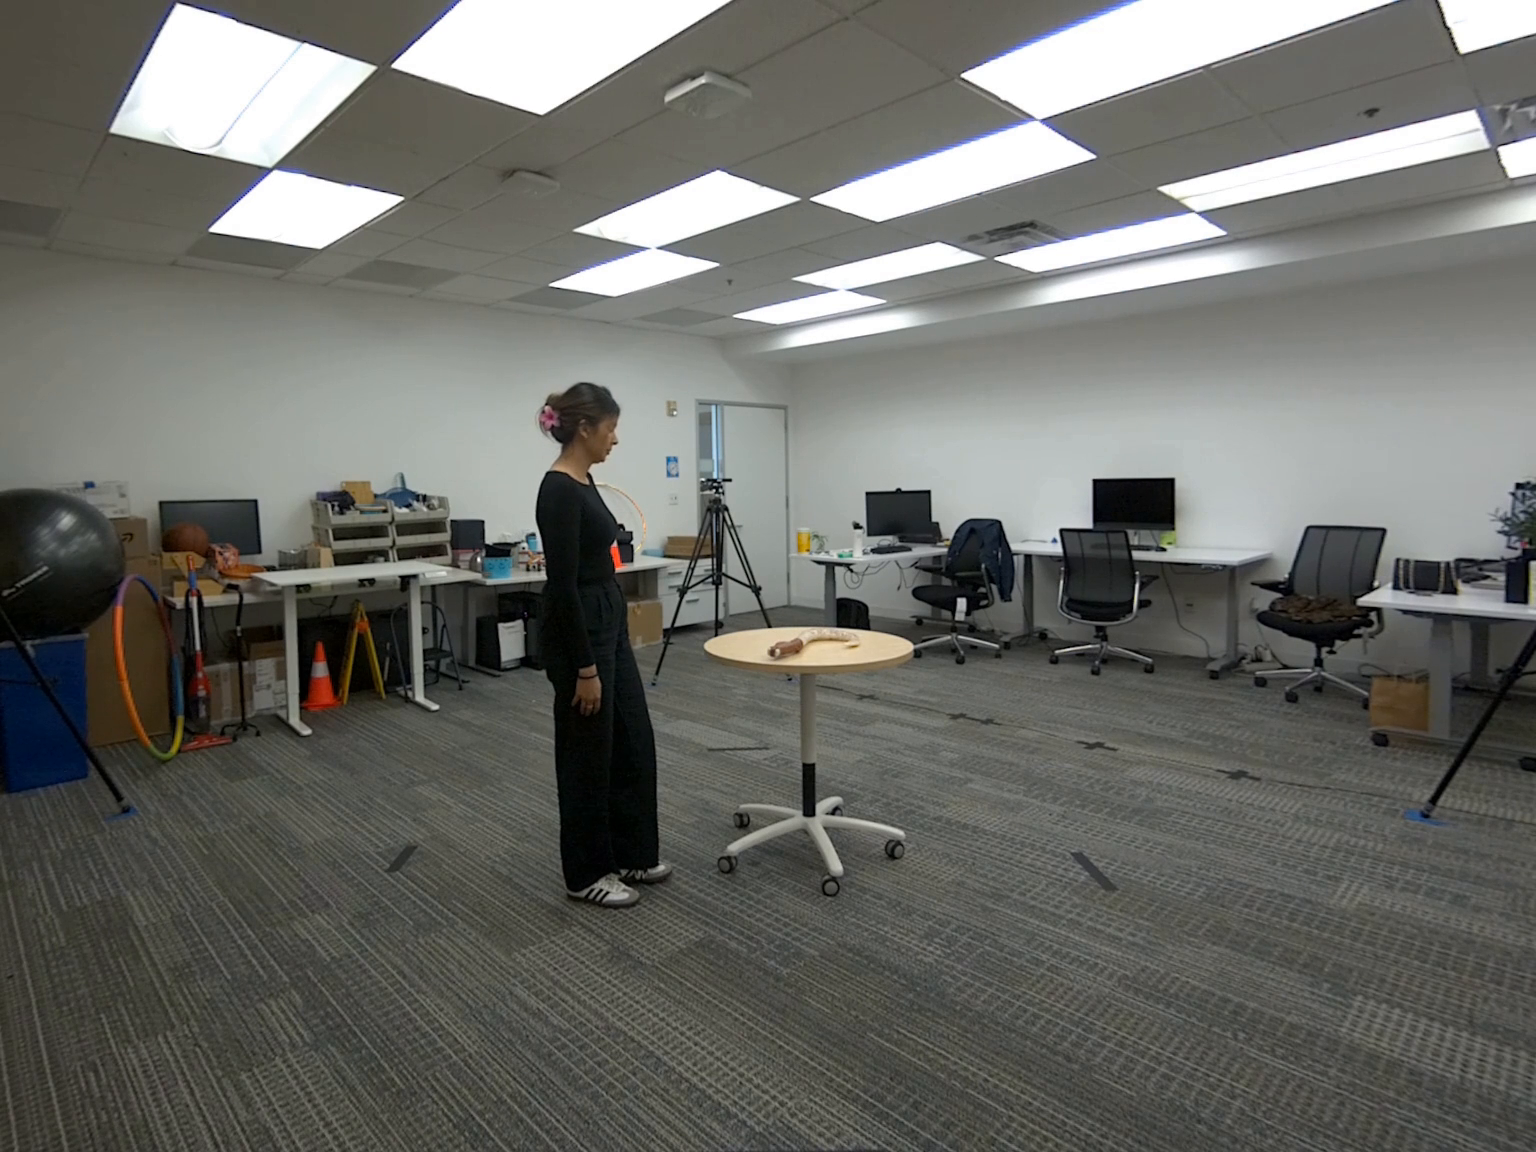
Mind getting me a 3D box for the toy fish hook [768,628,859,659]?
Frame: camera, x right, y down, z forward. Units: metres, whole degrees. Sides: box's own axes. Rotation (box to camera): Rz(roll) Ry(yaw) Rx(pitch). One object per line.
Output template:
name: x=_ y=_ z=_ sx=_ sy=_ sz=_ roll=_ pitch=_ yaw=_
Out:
toy fish hook: x=0.191 y=0.242 z=3.038 sx=0.230 sy=0.048 sz=0.495 roll=-1 pitch=4 yaw=28
